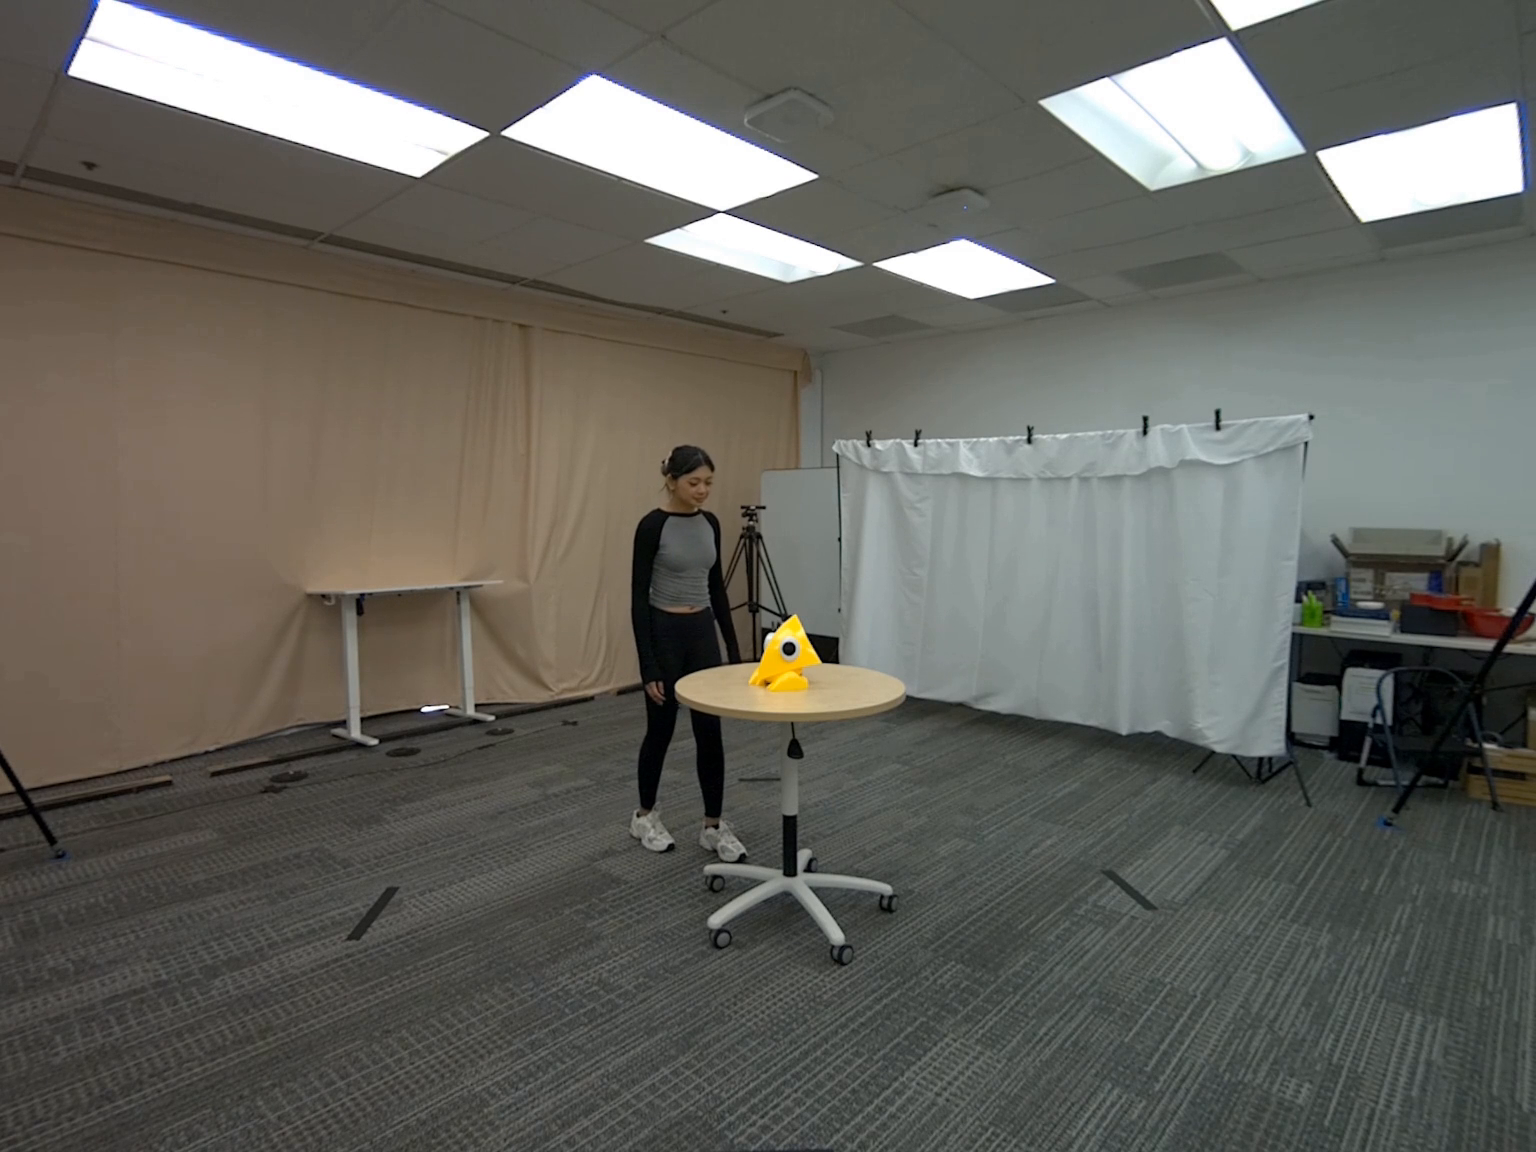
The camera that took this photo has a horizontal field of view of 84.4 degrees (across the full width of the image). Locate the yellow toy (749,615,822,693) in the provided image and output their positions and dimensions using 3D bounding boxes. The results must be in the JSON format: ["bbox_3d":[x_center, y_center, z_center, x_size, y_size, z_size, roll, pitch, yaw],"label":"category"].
[{"bbox_3d":[0.050,0.250,2.815,0.188,0.230,0.211,-3,5,-32],"label":"yellow toy"}]
